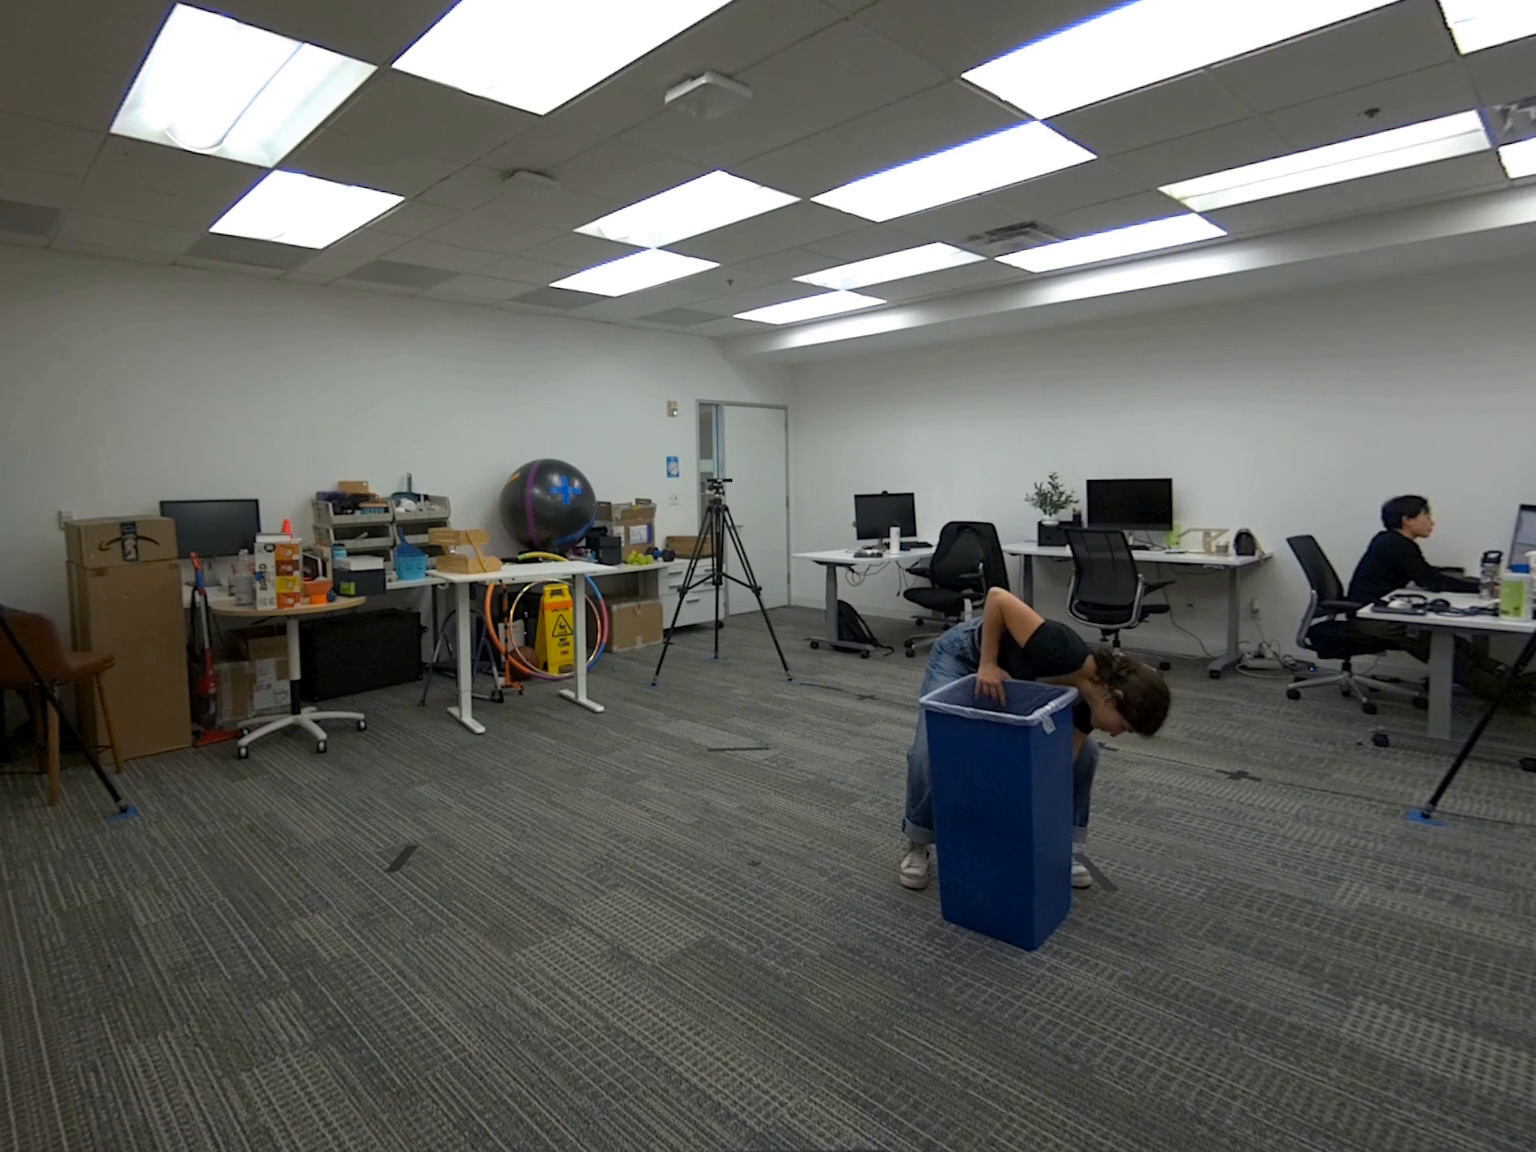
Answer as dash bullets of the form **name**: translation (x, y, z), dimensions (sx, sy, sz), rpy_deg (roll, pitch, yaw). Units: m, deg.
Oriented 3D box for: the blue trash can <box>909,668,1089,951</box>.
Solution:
- **blue trash can**: translation (0.740, 0.722, 2.654), dimensions (0.389, 0.710, 0.365), rpy_deg (2, 8, 43)
